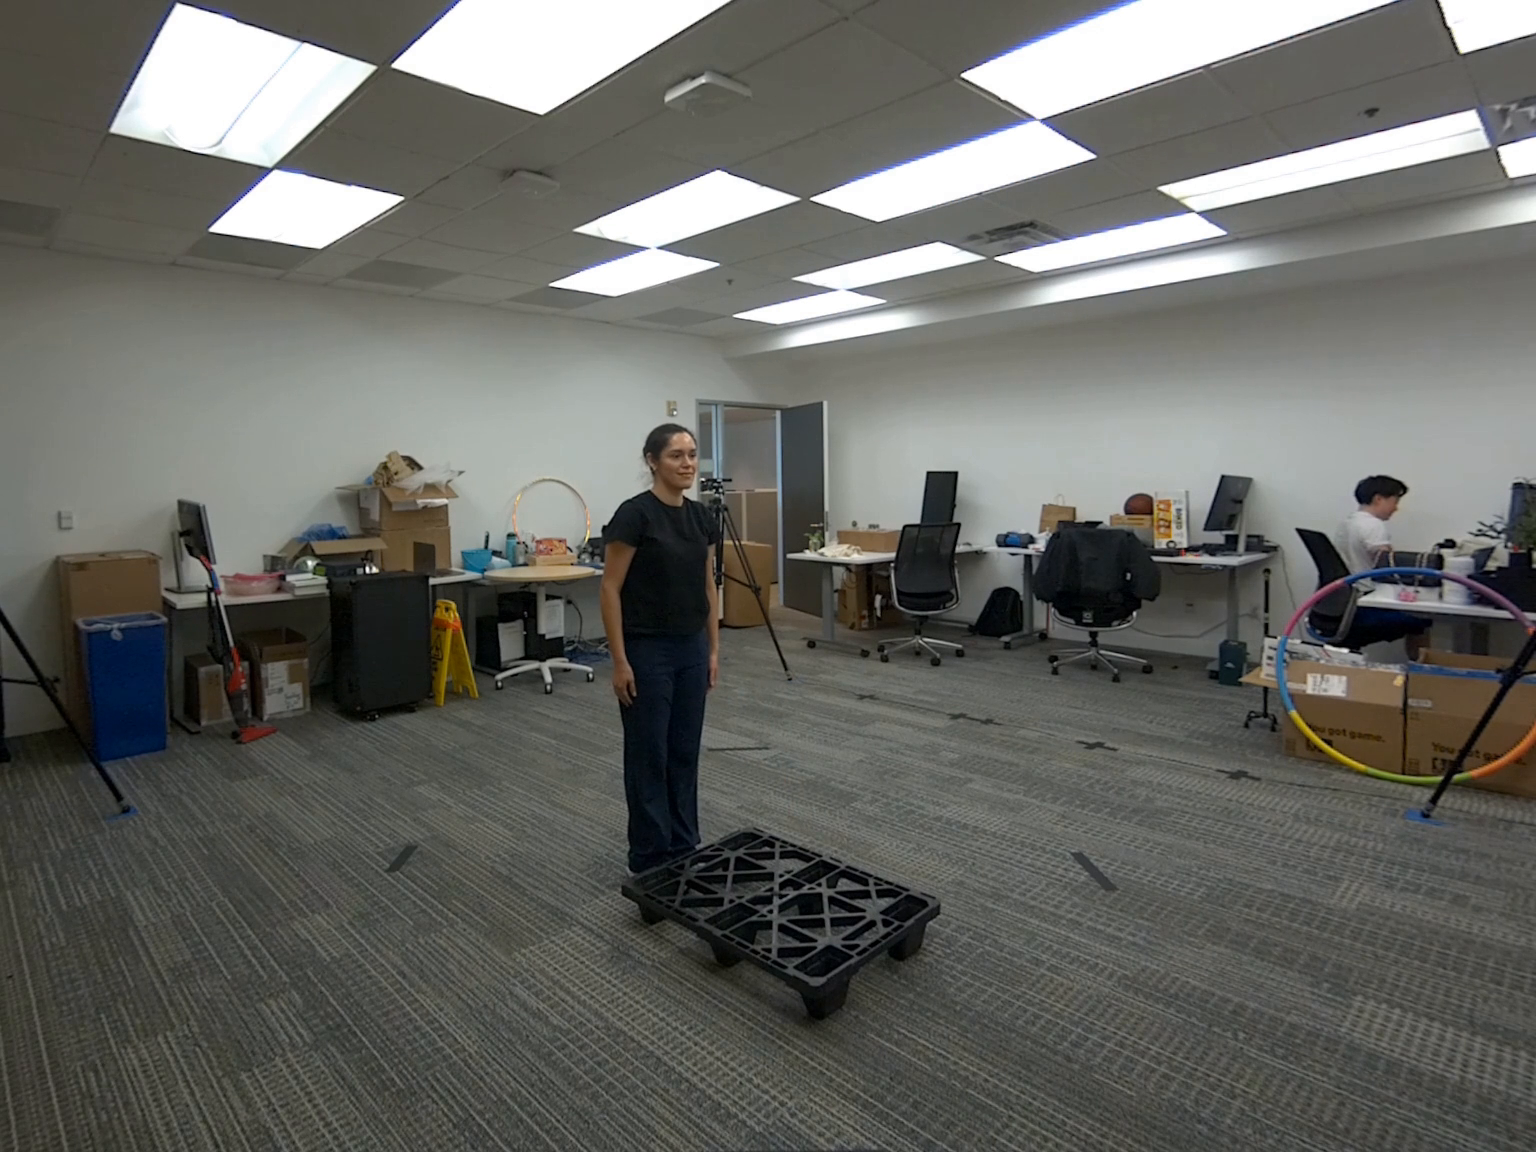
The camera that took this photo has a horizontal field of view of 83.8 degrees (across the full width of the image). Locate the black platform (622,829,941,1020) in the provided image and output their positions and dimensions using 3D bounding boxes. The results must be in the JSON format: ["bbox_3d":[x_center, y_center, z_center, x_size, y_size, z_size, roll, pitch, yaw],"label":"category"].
[{"bbox_3d":[0.029,1.033,2.636,0.831,0.143,0.589,6,9,44],"label":"black platform"}]
